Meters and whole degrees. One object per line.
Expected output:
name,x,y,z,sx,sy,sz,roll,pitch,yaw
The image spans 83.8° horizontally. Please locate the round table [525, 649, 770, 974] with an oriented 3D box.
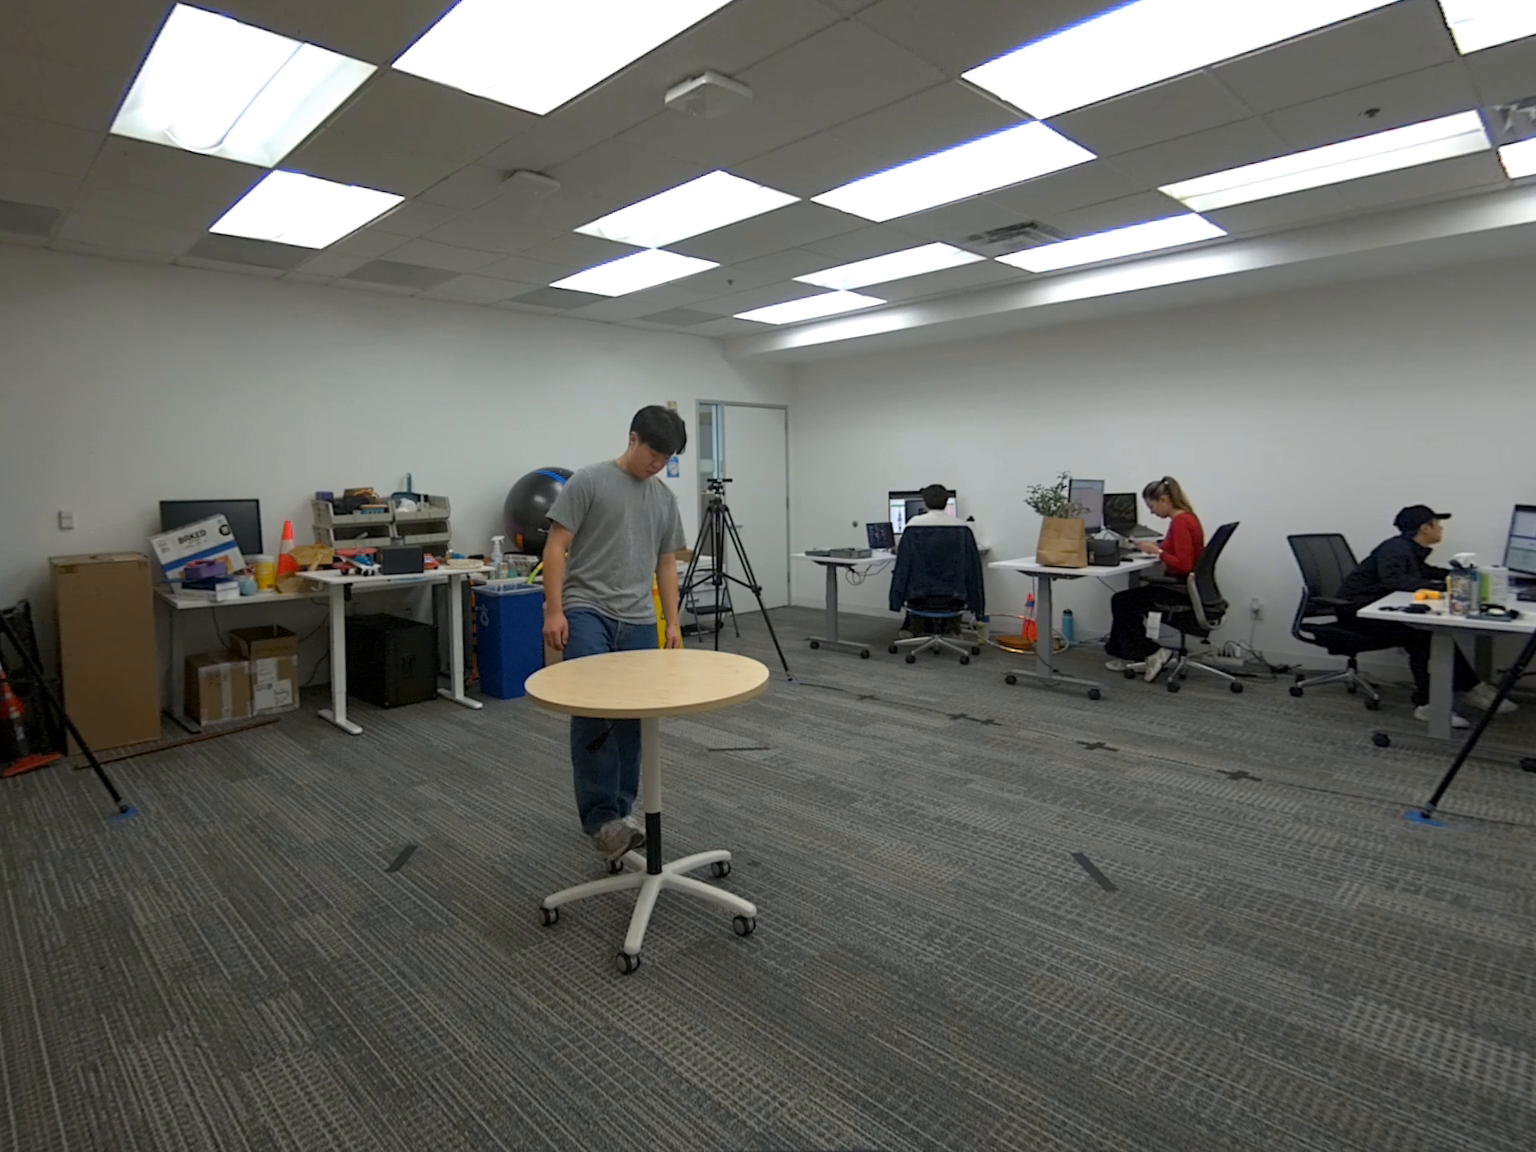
round table,-0.367,0.705,2.737,0.763,0.790,0.768,-1,6,-2
